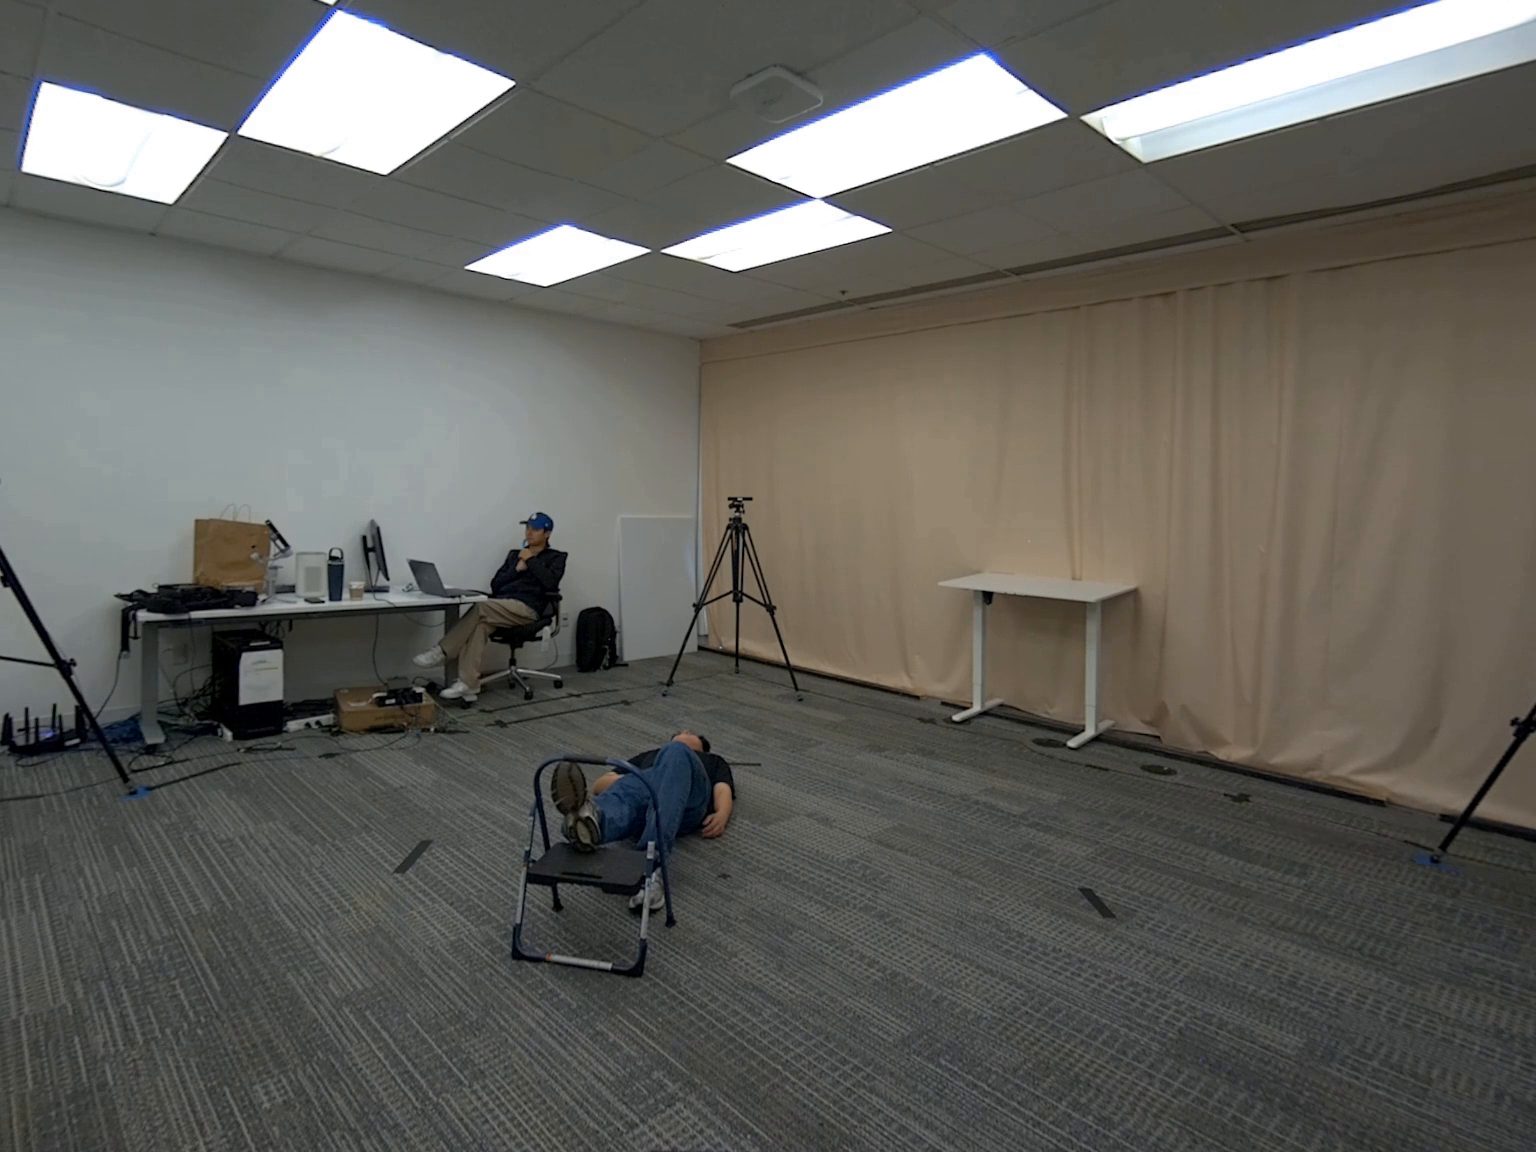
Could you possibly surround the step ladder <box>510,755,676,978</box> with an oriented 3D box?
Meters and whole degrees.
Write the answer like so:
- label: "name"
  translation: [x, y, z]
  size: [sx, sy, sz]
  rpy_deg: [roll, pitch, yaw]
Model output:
- label: "step ladder"
  translation: [-0.537, 0.843, 2.622]
  size: [0.434, 0.604, 0.347]
  rpy_deg: [2, 4, 11]
